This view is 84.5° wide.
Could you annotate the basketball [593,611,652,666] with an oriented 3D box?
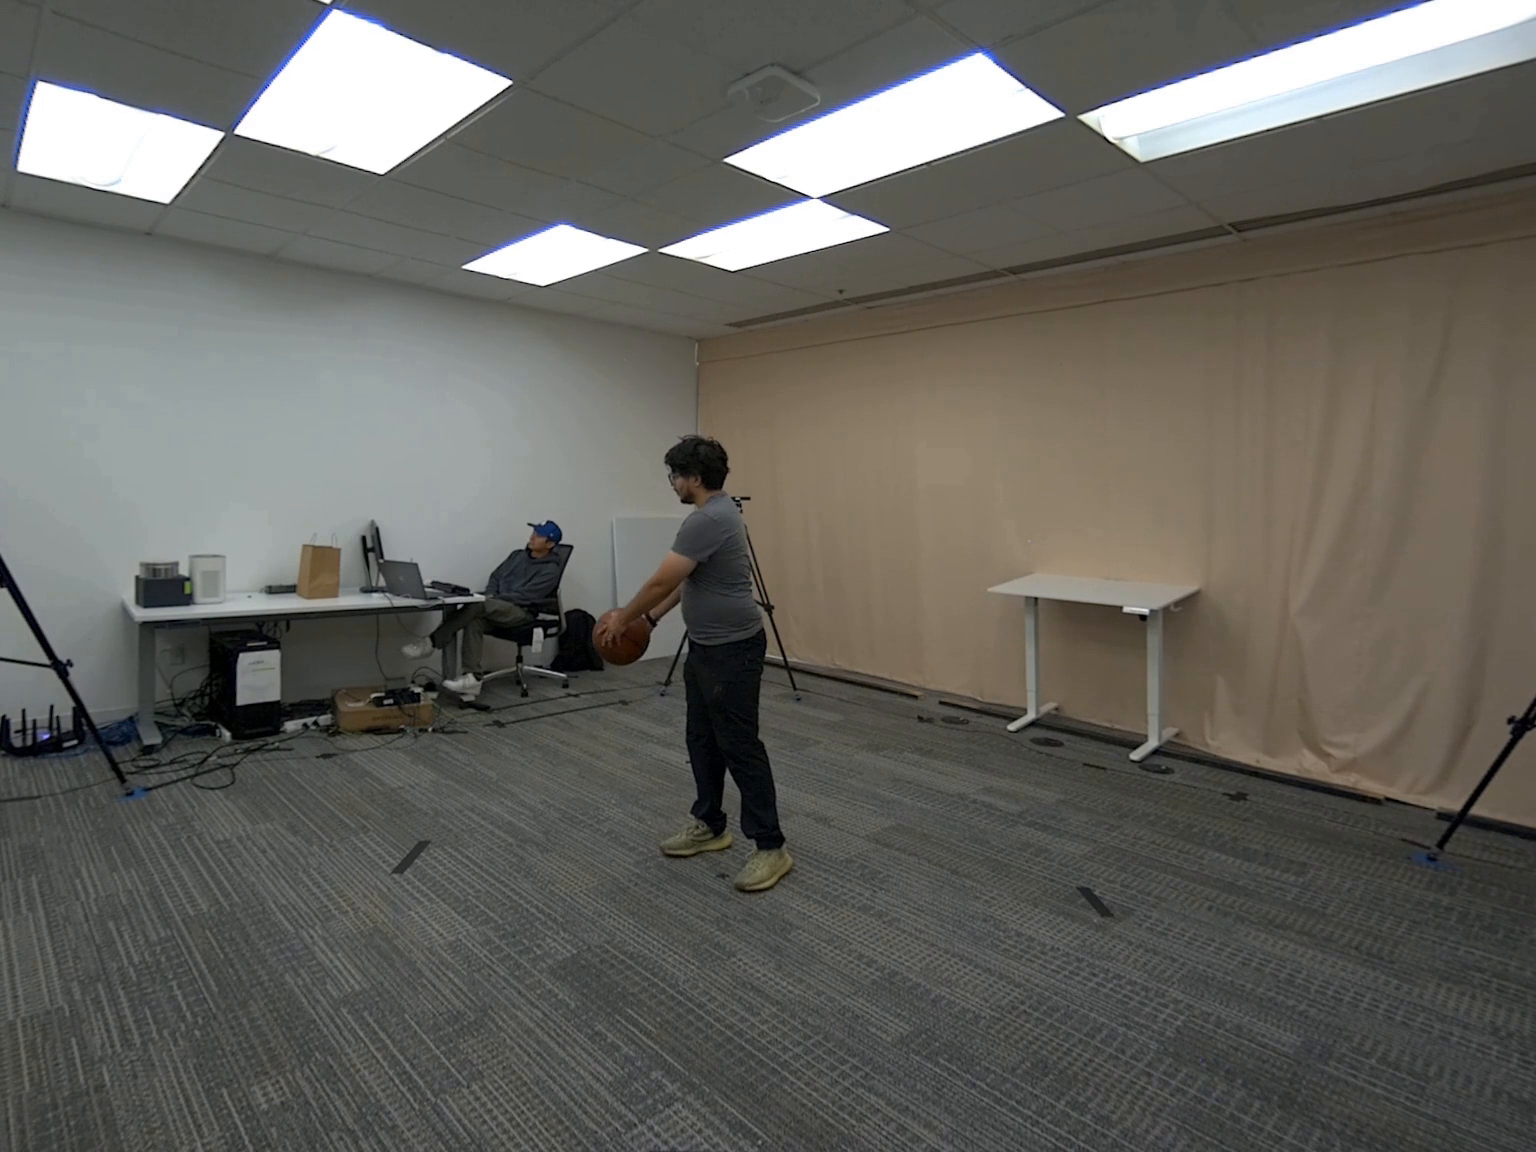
[{"bbox_3d":[-0.609,0.247,3.490,0.236,0.235,0.237,1,4,-1],"label":"basketball"}]
